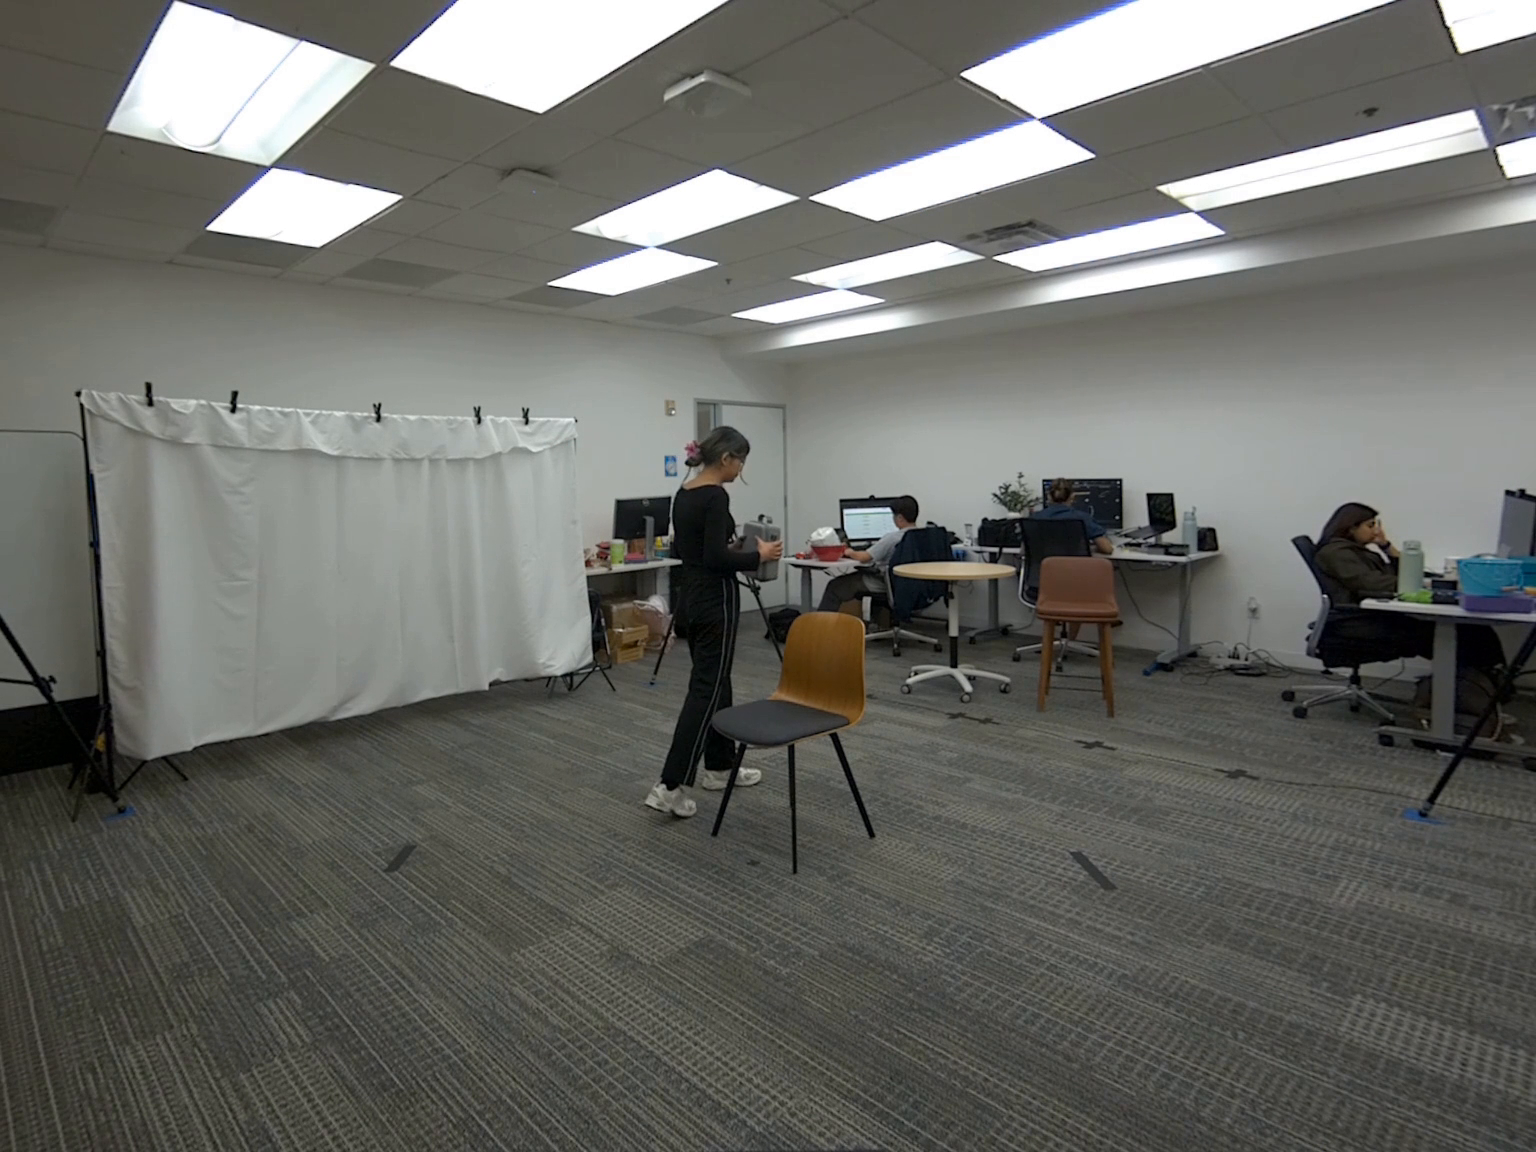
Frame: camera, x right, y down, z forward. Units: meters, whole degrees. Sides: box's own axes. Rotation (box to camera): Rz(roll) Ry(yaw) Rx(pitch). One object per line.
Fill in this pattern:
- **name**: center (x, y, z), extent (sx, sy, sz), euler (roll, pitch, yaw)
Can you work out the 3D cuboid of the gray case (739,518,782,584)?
- **gray case**: center (-0.041, -0.117, 3.839), extent (0.103, 0.260, 0.262), euler (4, 5, -16)
